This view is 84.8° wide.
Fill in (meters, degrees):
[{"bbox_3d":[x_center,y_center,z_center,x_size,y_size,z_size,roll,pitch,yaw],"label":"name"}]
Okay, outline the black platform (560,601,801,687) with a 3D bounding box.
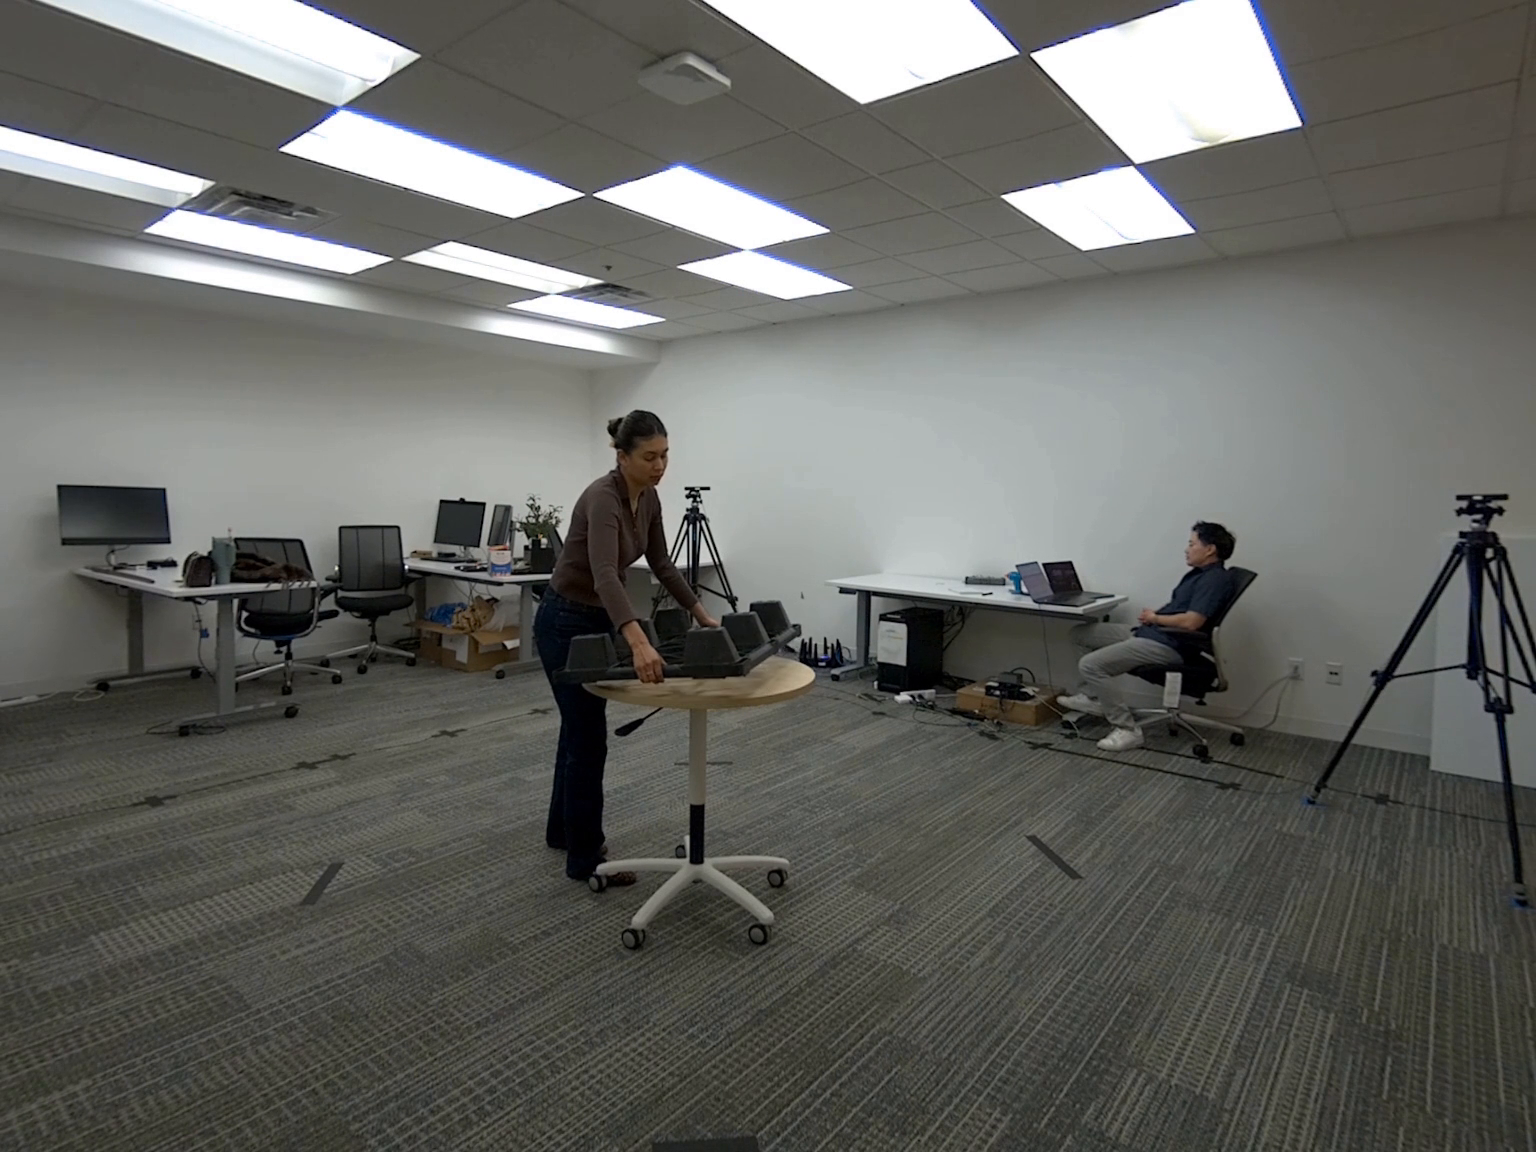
[{"bbox_3d":[-0.277,0.206,2.830,0.615,0.143,0.794,-4,4,16],"label":"black platform"}]
